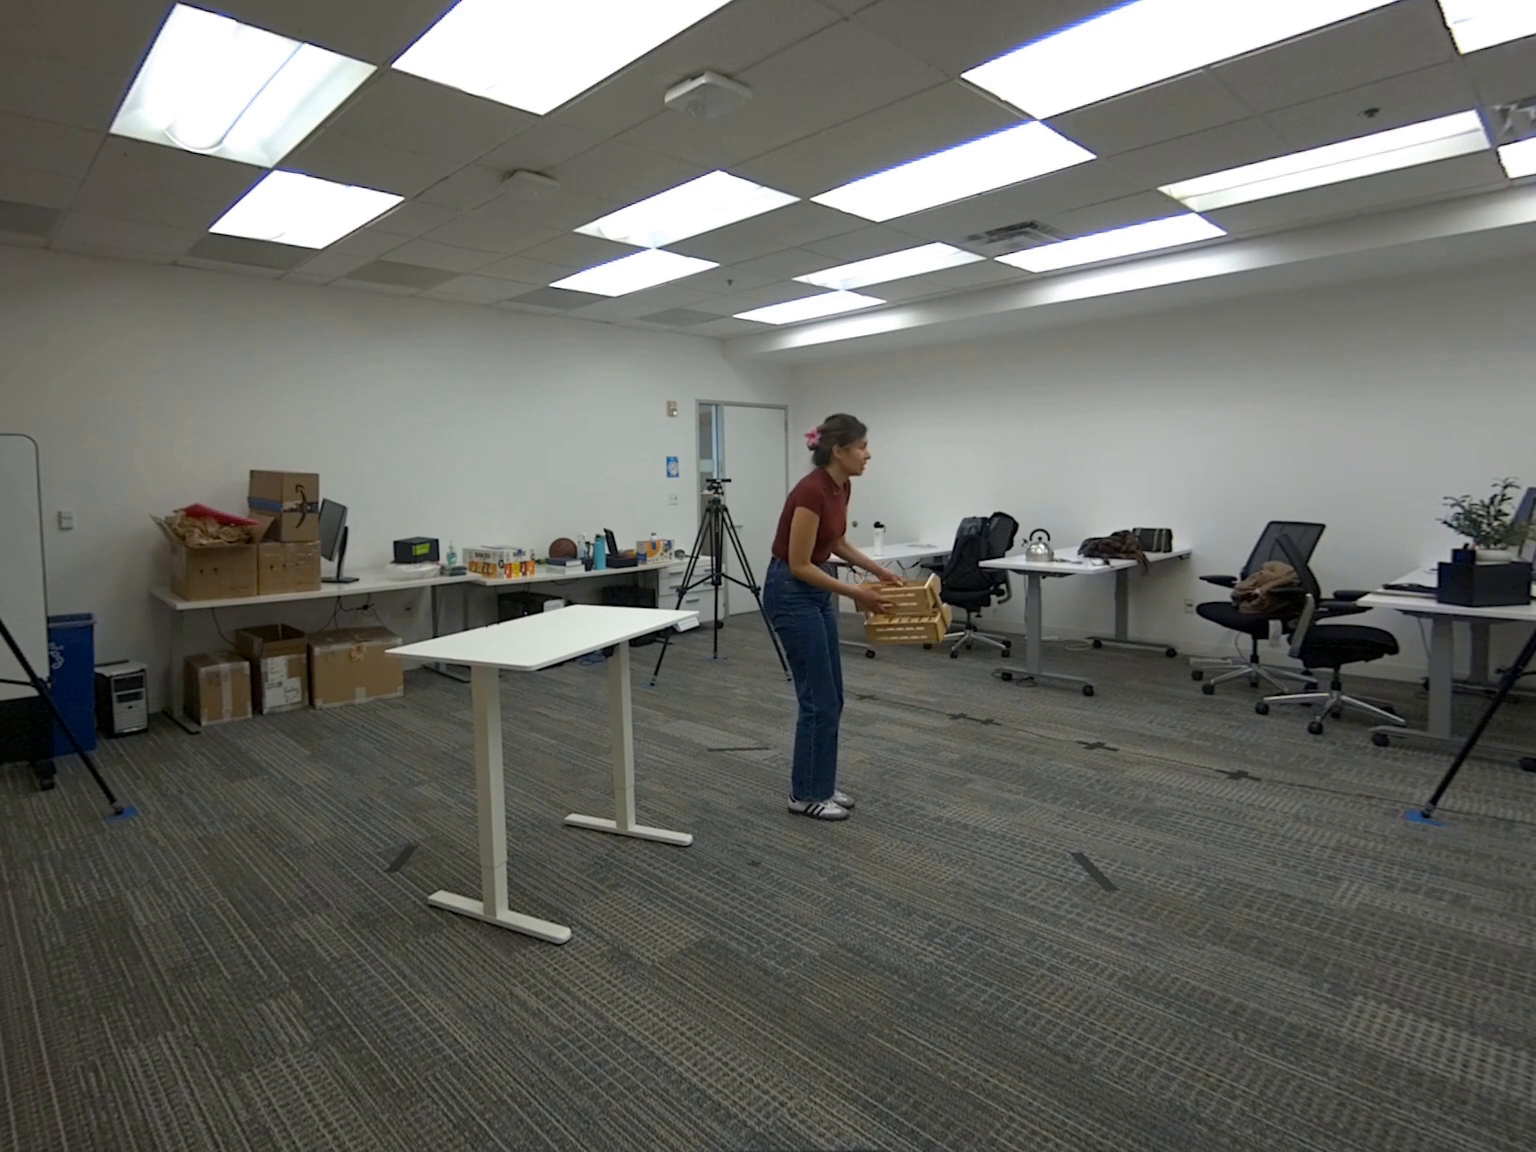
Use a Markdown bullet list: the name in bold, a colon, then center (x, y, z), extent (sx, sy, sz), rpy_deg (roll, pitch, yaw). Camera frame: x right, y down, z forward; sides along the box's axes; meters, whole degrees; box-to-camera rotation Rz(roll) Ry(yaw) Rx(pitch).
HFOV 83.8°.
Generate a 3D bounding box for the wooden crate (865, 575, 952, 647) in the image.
- **wooden crate**: center (0.557, 0.119, 3.510), extent (0.331, 0.269, 0.301), rpy_deg (-5, 19, 27)
